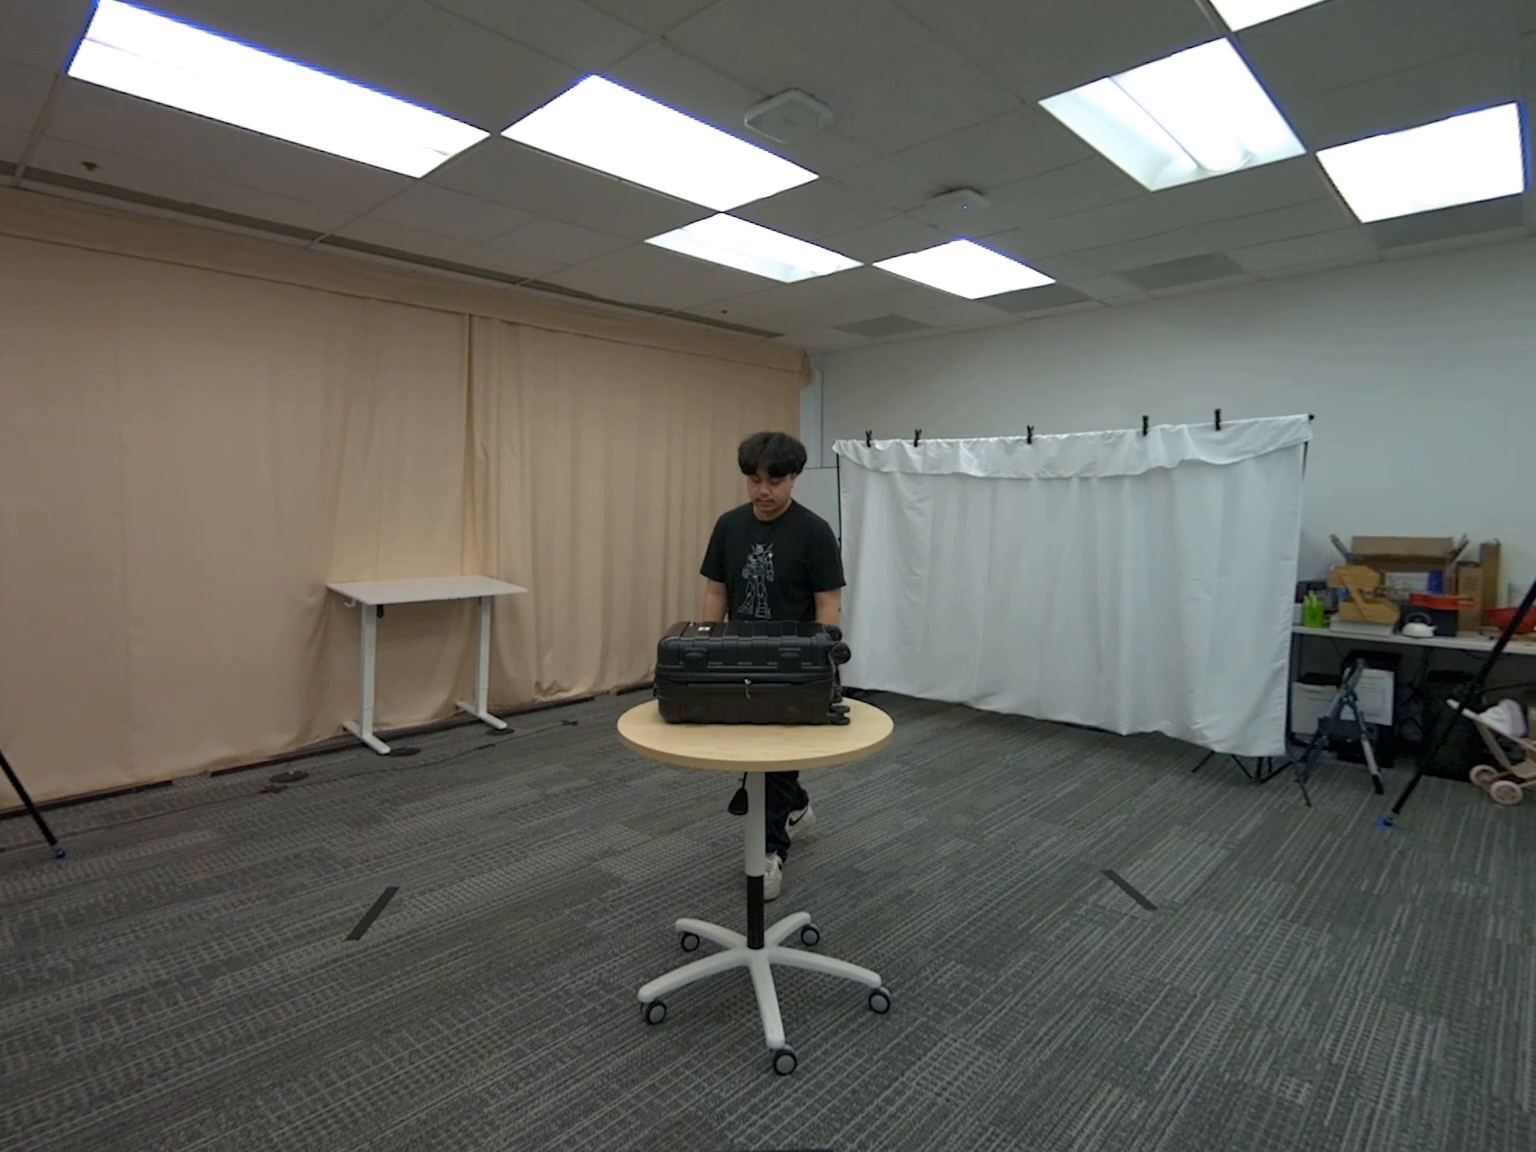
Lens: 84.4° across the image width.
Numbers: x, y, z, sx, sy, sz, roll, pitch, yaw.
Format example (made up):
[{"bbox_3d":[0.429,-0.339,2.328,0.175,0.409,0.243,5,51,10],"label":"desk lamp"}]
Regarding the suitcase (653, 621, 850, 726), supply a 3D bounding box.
[{"bbox_3d":[-0.047,0.277,2.449,0.551,0.247,0.375,-2,6,3],"label":"suitcase"}]
